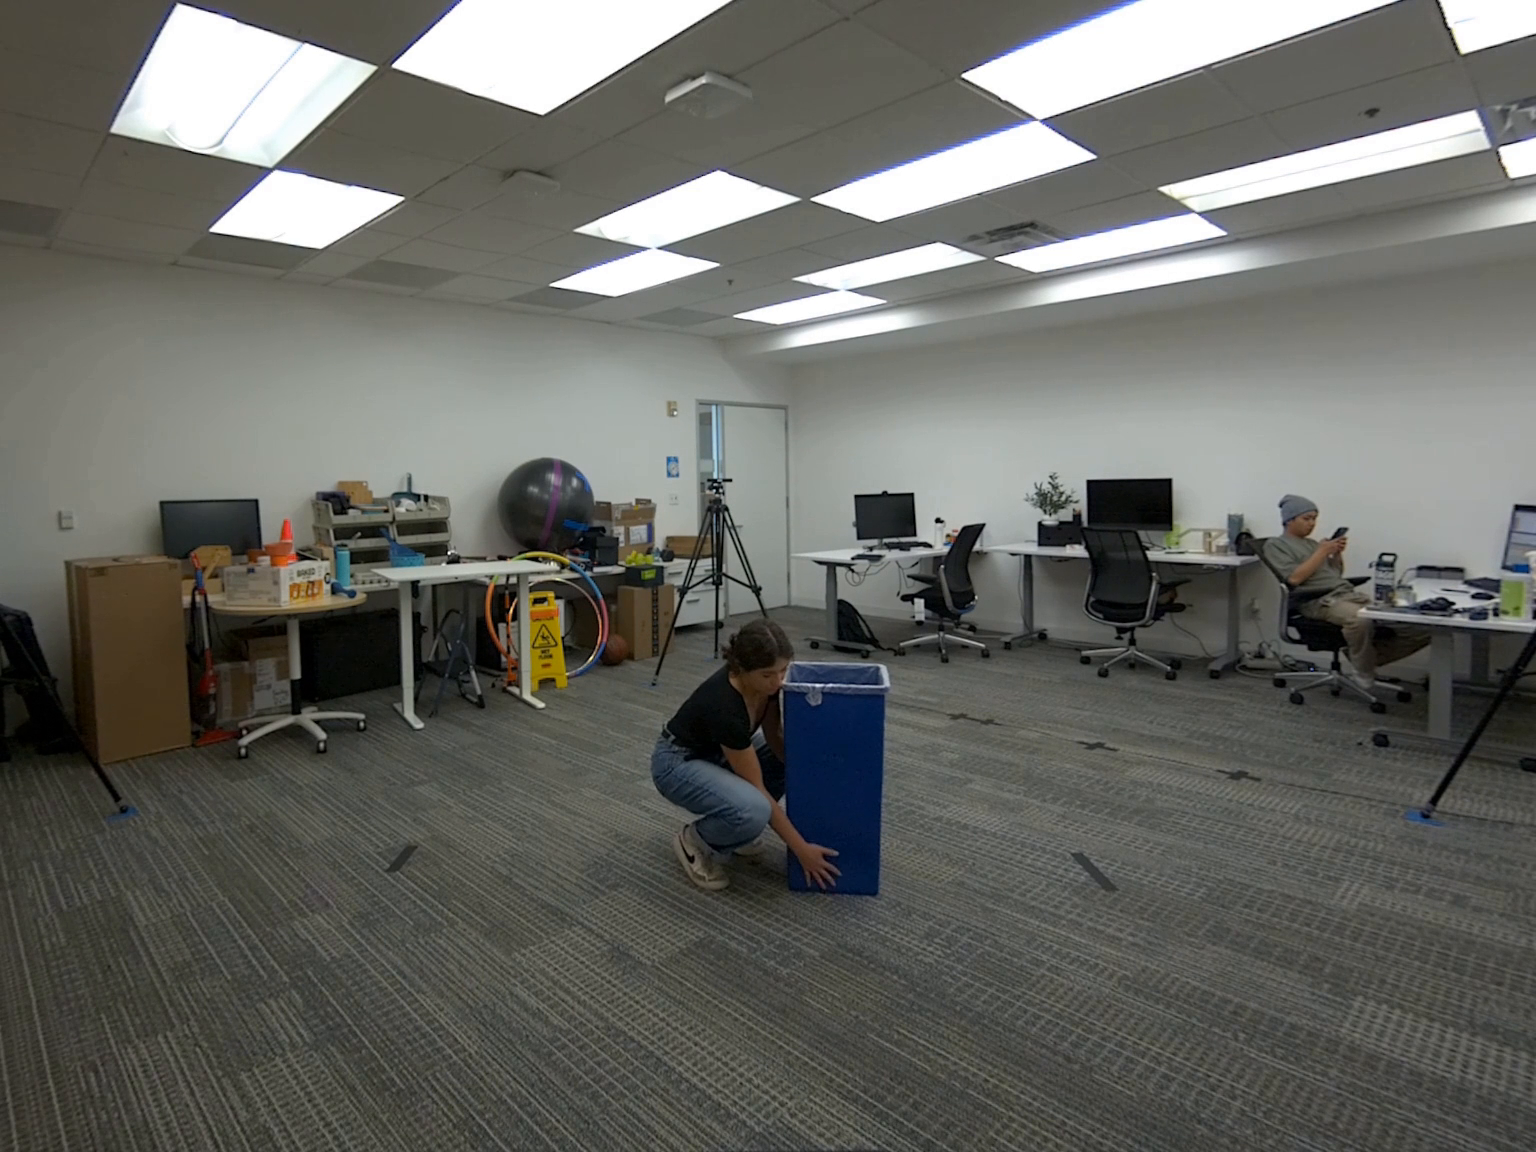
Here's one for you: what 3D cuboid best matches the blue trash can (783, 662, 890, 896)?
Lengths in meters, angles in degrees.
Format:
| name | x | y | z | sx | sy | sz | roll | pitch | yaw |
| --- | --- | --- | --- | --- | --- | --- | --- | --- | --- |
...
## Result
| name | x | y | z | sx | sy | sz | roll | pitch | yaw |
| --- | --- | --- | --- | --- | --- | --- | --- | --- | --- |
| blue trash can | 0.228 | 0.687 | 3.001 | 0.381 | 0.711 | 0.372 | 1 | 4 | 8 |
